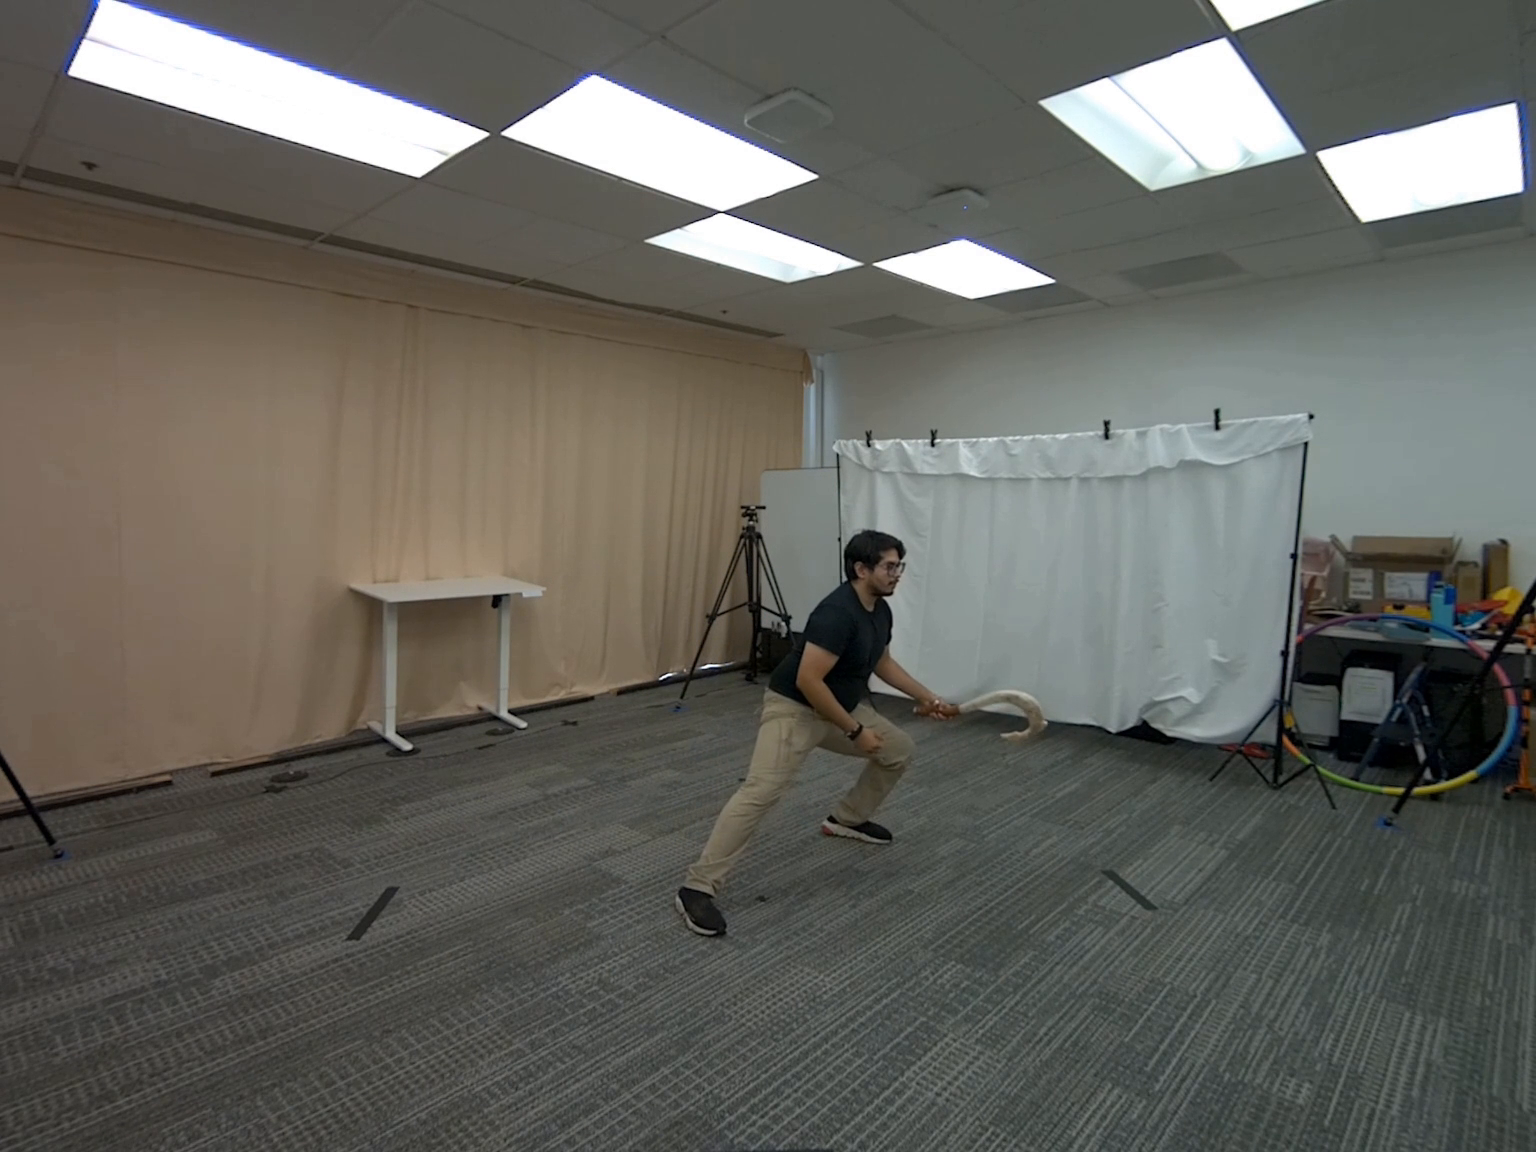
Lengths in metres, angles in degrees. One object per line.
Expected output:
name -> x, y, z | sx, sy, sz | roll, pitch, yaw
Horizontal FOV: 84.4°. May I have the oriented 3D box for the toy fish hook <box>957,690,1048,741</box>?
toy fish hook -> 0.820, 0.556, 3.255 | 0.520, 0.222, 0.047 | -12, 13, 37
